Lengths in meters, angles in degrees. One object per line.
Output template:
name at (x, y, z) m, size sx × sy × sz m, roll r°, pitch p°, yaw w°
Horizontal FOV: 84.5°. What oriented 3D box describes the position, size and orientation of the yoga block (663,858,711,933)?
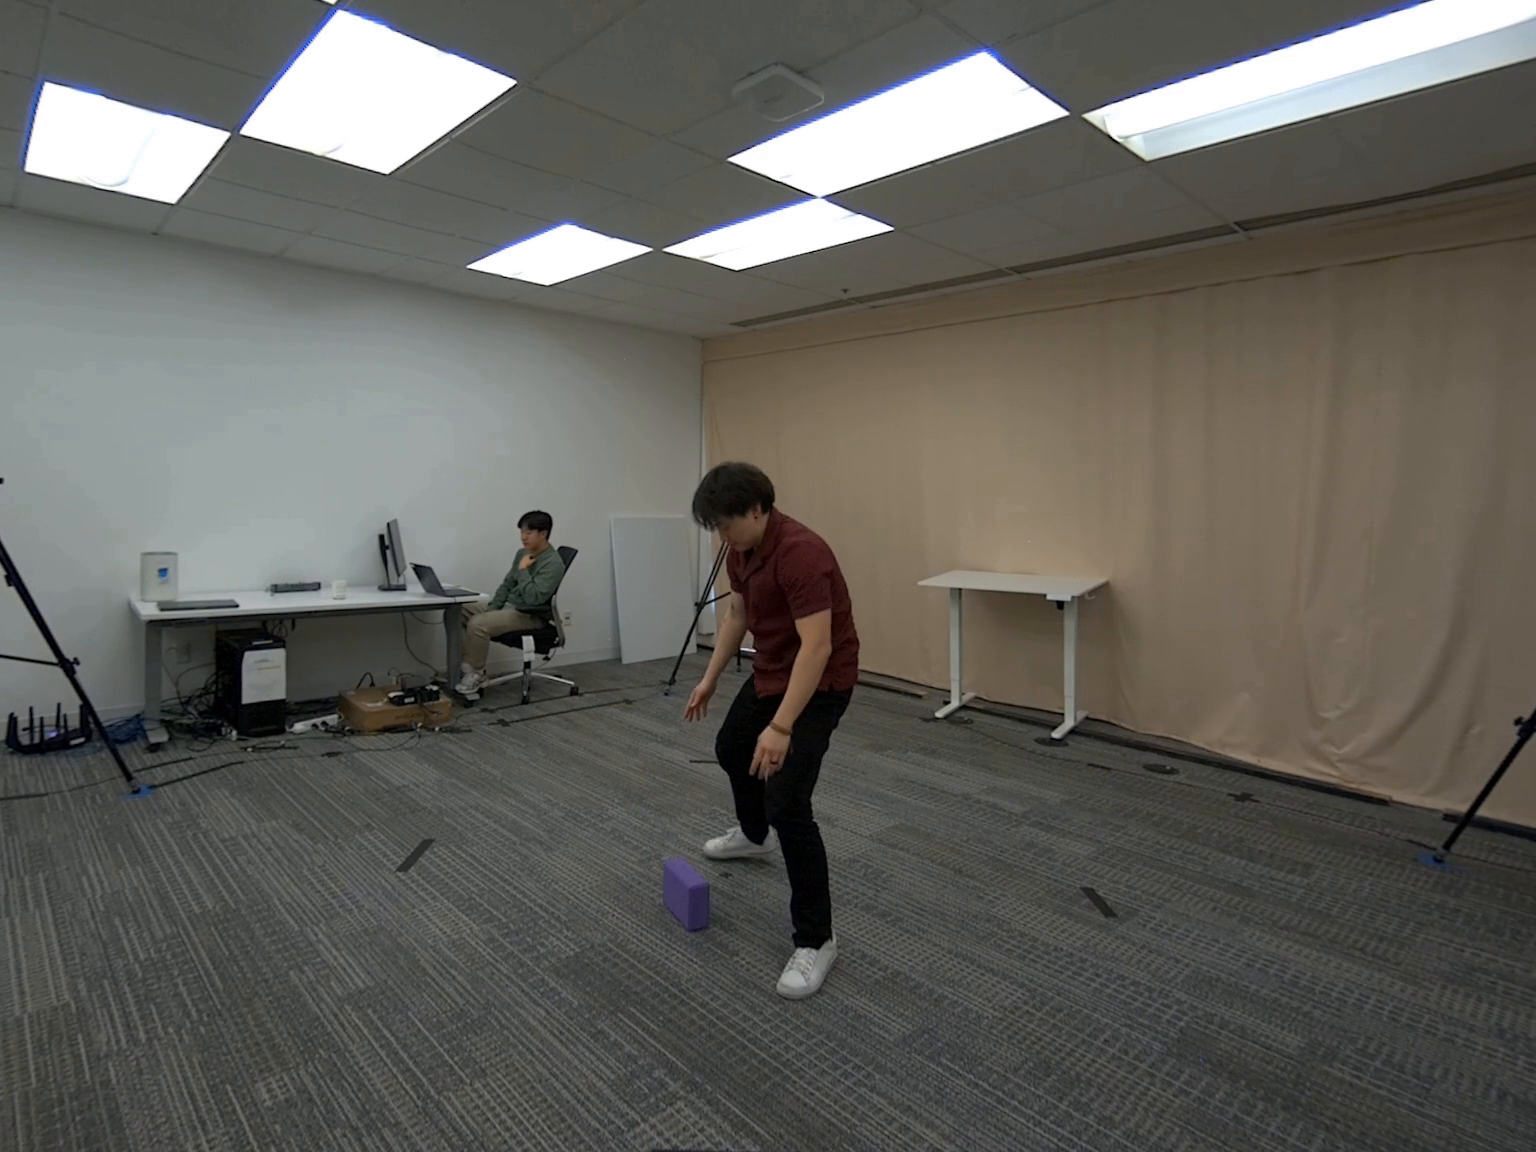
yoga block at (-0.280, 1.056, 2.794) m, size 0.075 × 0.148 × 0.234 m, roll 0°, pitch 4°, yaw -28°
